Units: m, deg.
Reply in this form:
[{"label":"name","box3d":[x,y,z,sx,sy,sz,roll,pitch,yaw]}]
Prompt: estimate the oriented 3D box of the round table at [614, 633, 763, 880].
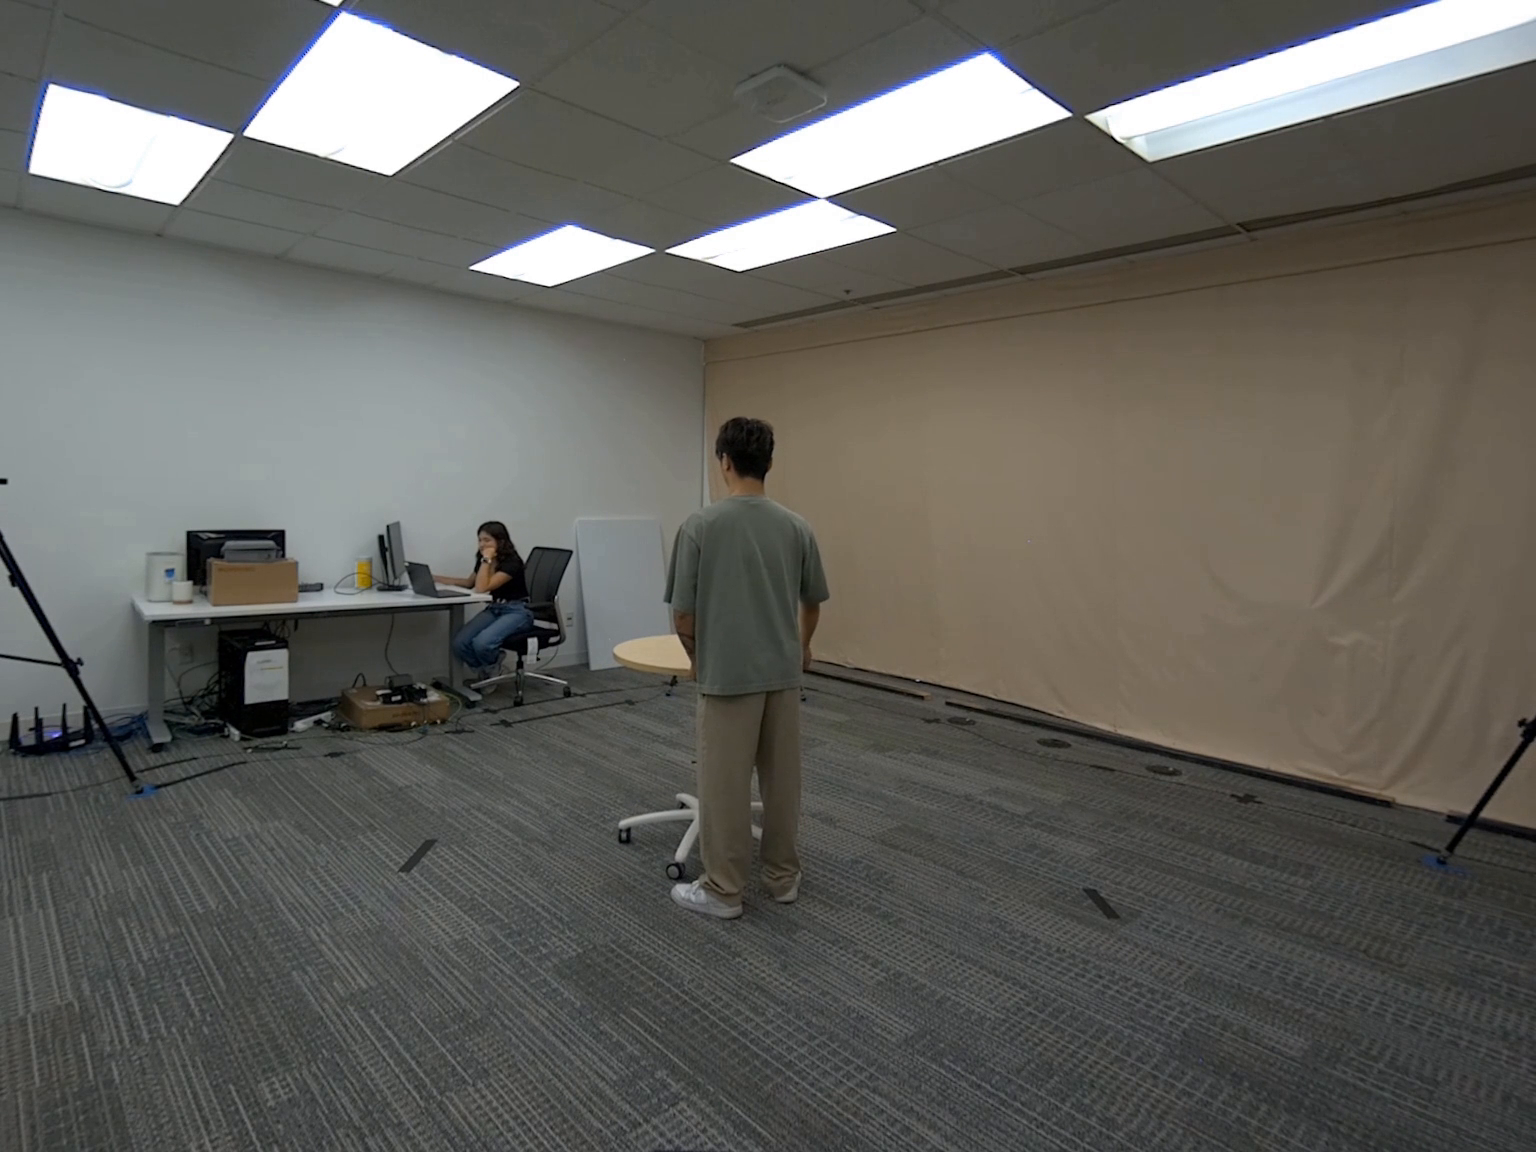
[{"label":"round table","box3d":[-0.247,0.687,3.392,0.784,0.784,0.788,2,5,-2]}]
